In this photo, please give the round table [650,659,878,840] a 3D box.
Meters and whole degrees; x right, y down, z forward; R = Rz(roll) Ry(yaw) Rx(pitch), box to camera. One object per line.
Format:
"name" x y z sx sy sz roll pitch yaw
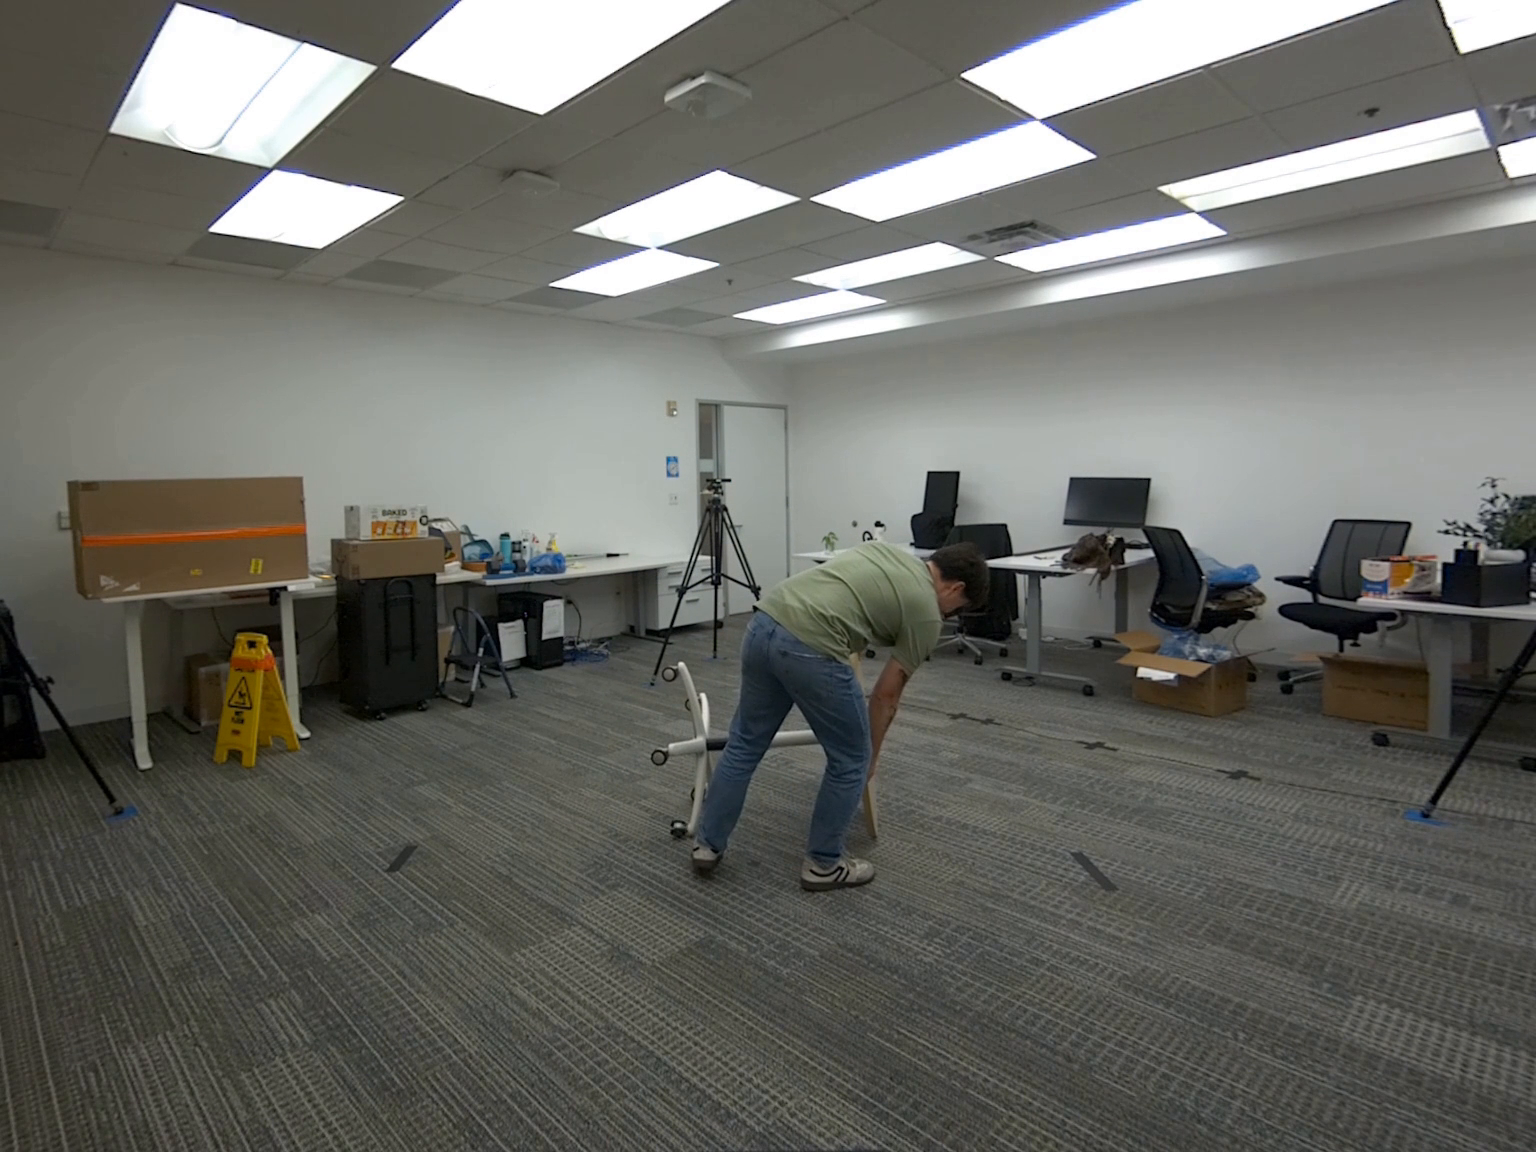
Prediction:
"round table" 0.001 0.667 3.450 0.801 0.762 0.760 -6 4 9
